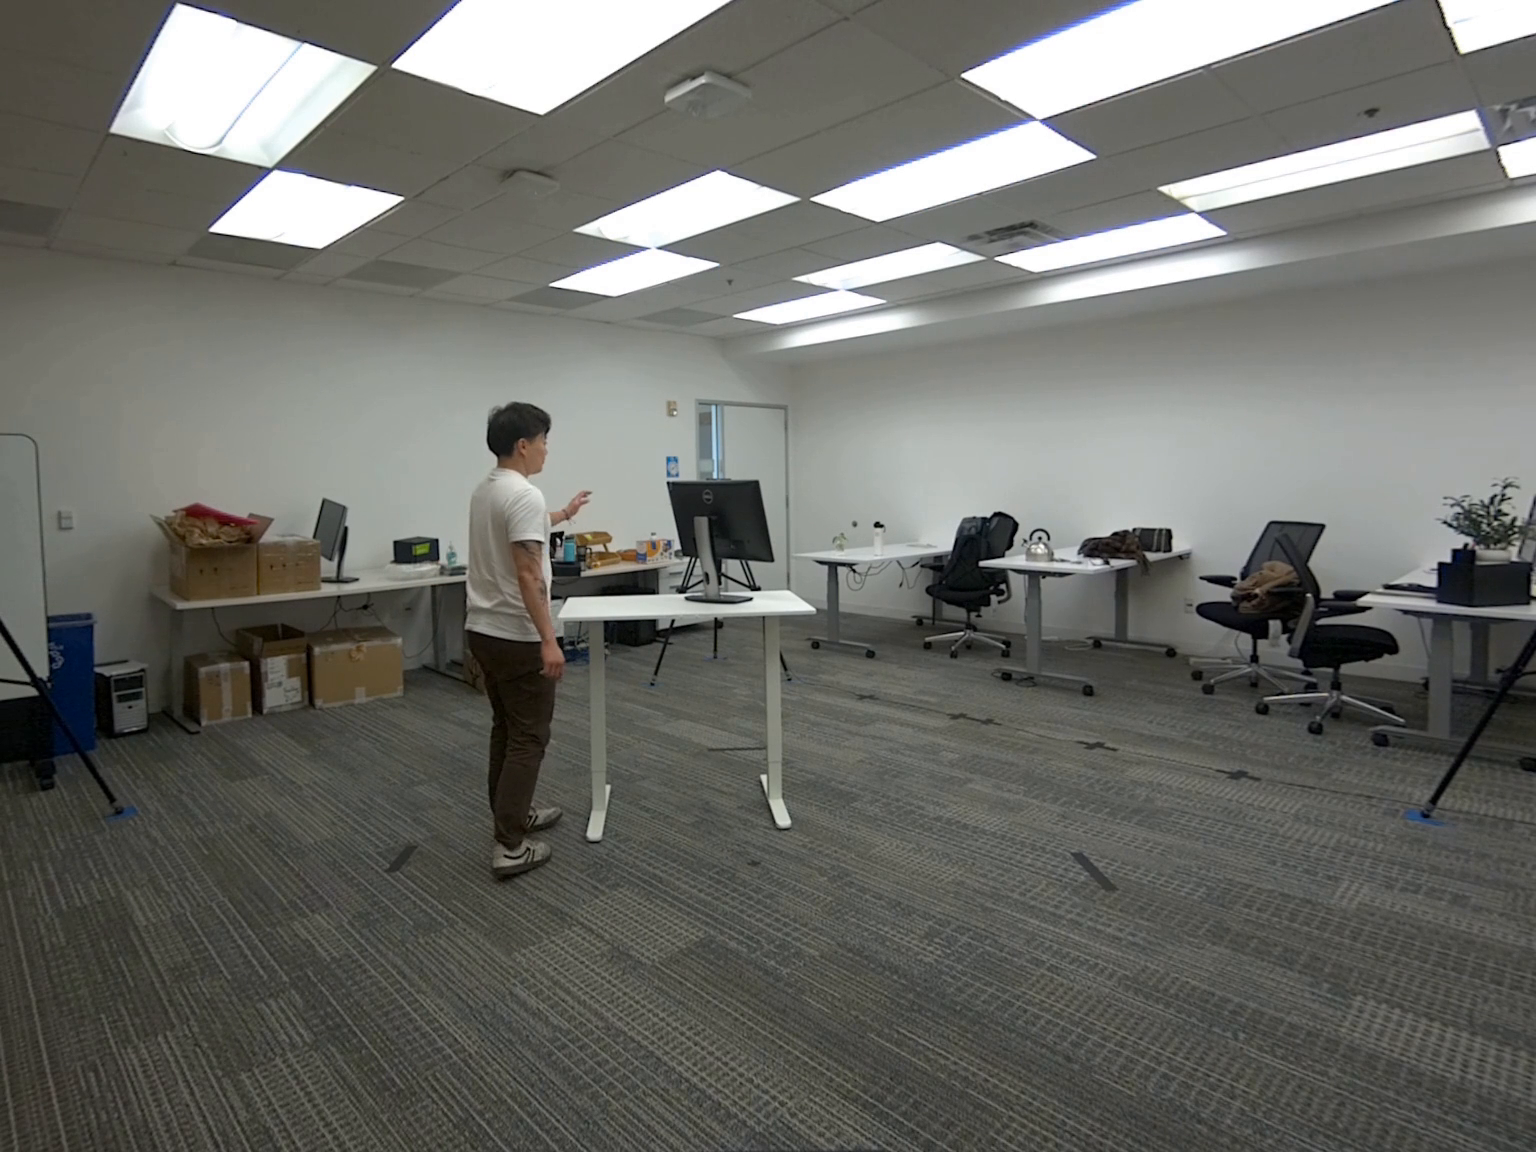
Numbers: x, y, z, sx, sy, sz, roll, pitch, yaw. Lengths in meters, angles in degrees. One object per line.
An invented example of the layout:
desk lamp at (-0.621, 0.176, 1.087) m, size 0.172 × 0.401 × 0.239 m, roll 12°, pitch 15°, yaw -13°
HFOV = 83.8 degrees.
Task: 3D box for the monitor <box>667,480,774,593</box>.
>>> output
monitor at (-0.231, -0.146, 3.645) m, size 0.555 × 0.520 × 0.182 m, roll 4°, pitch 8°, yaw 41°
